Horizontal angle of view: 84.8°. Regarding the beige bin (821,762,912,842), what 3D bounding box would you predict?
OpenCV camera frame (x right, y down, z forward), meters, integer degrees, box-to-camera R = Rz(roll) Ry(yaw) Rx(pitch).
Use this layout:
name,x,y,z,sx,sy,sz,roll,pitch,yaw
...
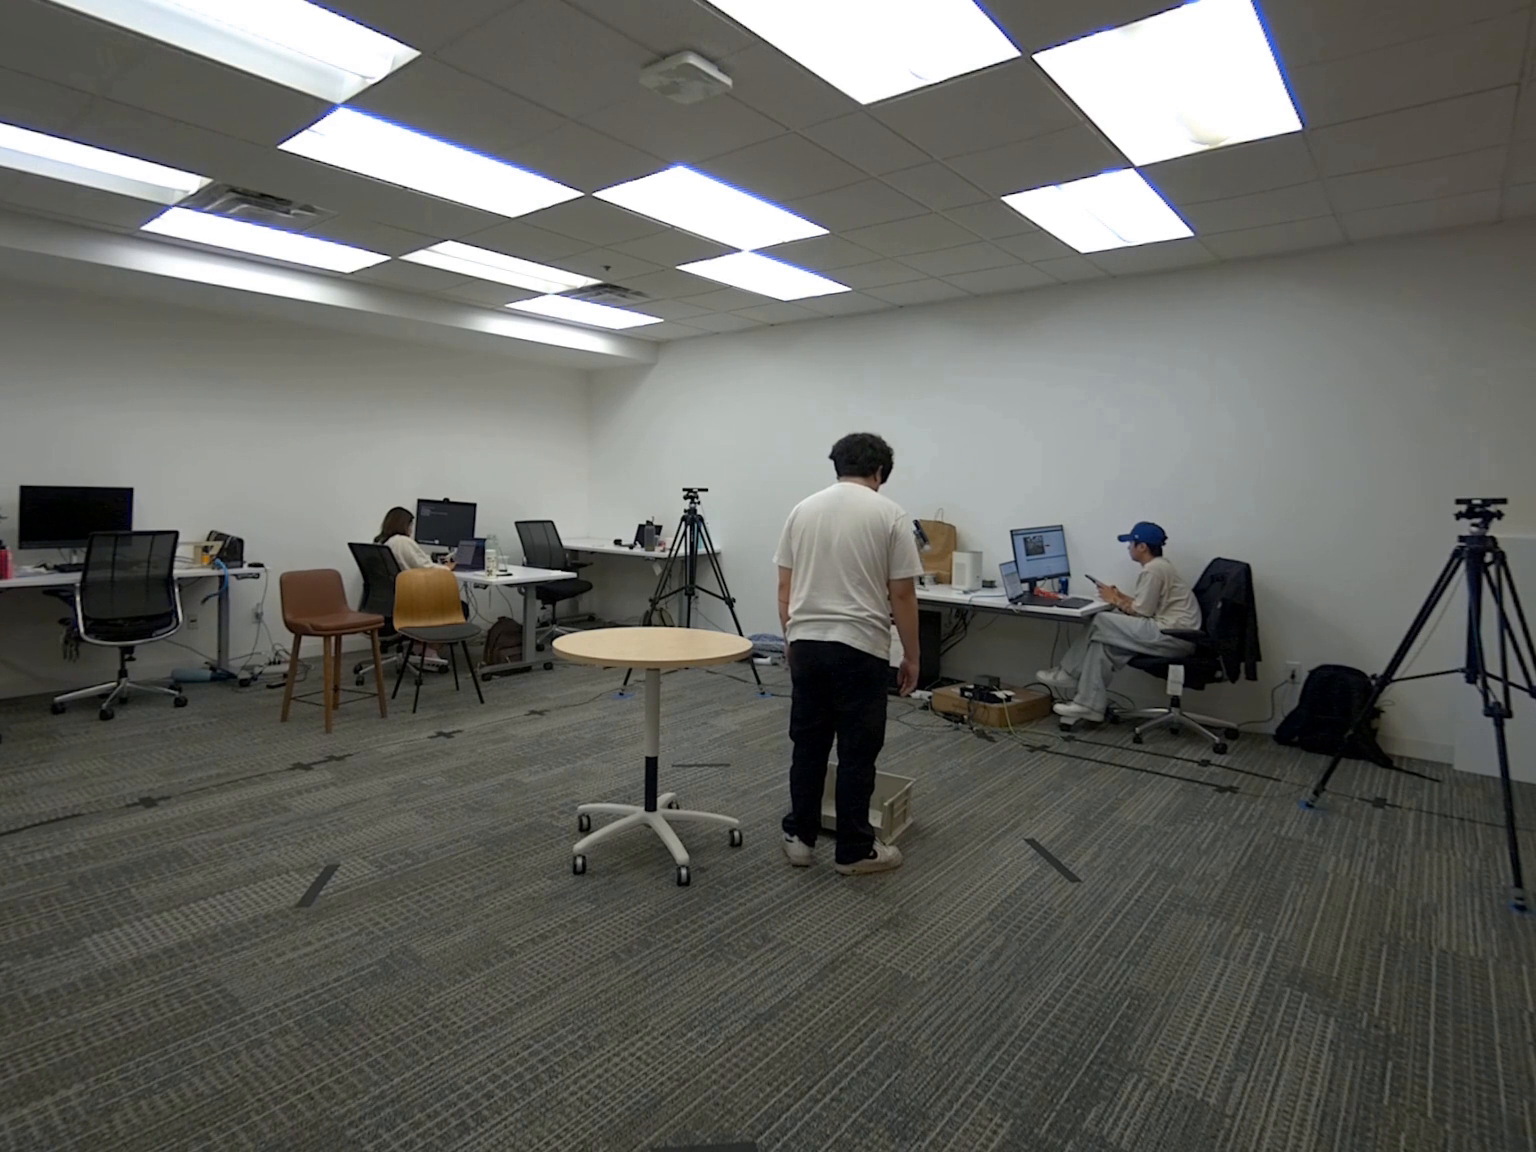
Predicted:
name,x,y,z,sx,sy,sz,roll,pitch,yaw
beige bin,0.344,0.944,3.558,0.435,0.188,0.368,3,5,30
